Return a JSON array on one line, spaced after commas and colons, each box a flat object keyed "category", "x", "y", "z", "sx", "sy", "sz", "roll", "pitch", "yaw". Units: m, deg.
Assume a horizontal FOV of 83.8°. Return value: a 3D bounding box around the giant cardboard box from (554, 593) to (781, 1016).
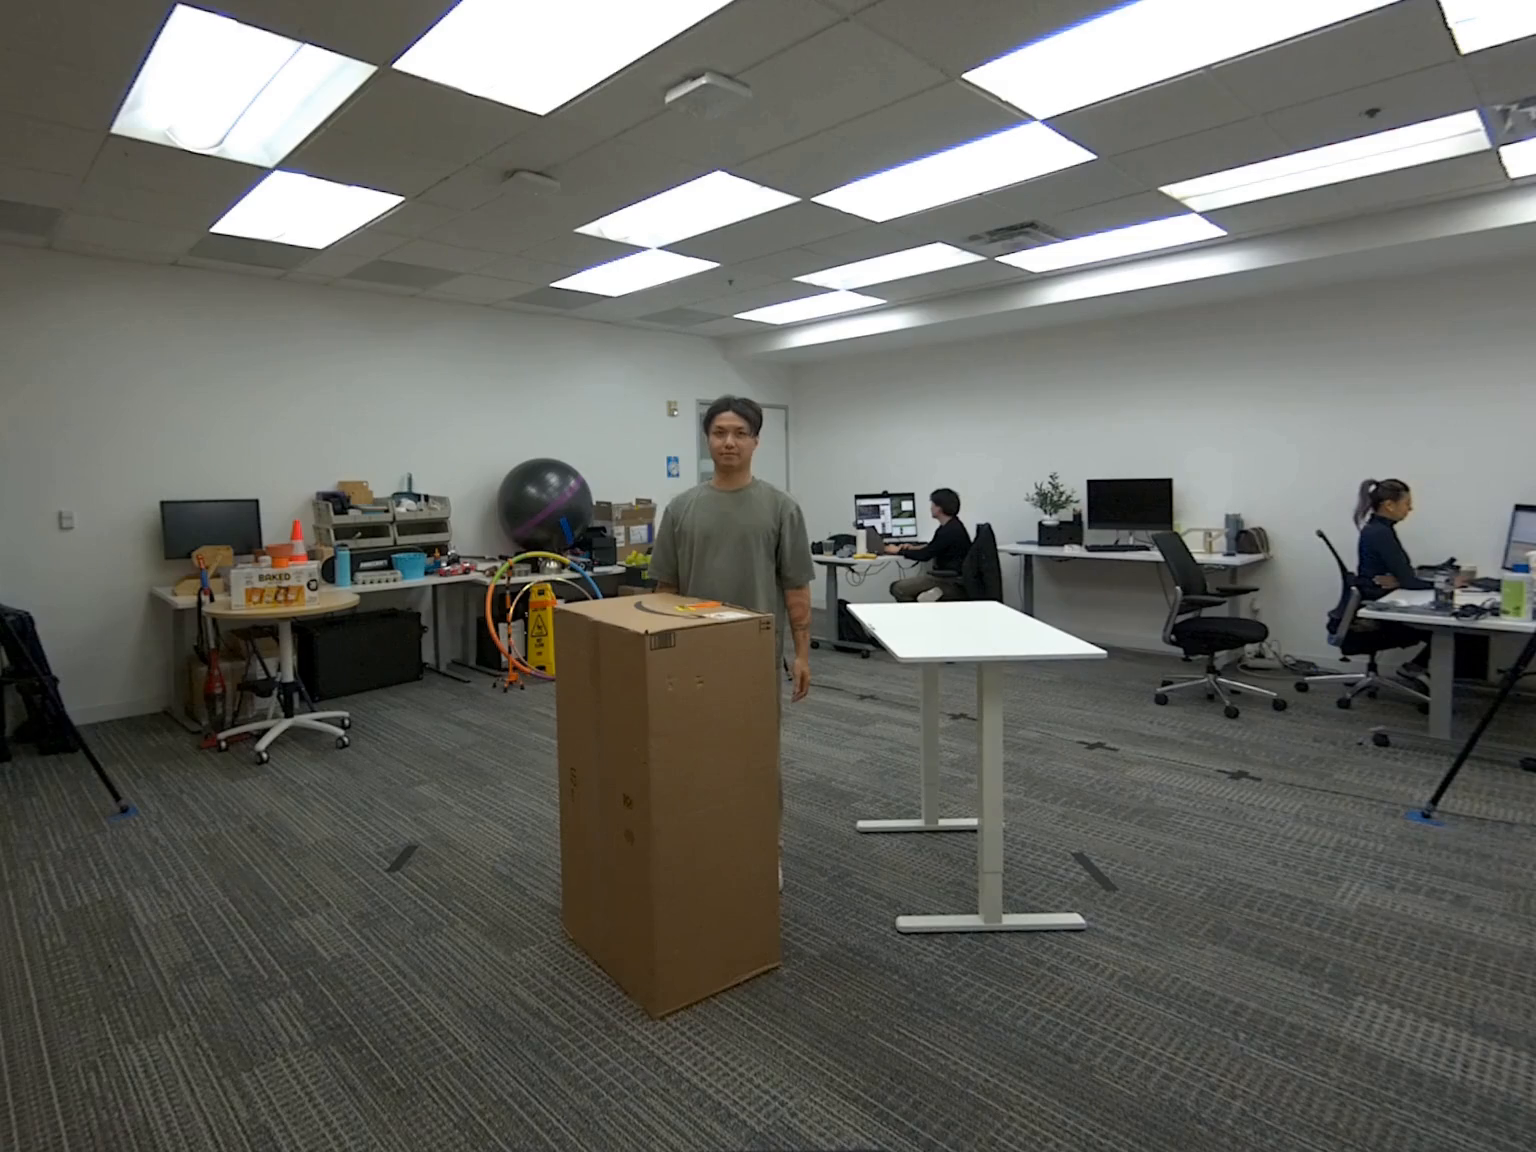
[{"category": "giant cardboard box", "x": -0.309, "y": 0.610, "z": 2.532, "sx": 0.415, "sy": 1.022, "sz": 0.595, "roll": -4, "pitch": 5, "yaw": -37}]
